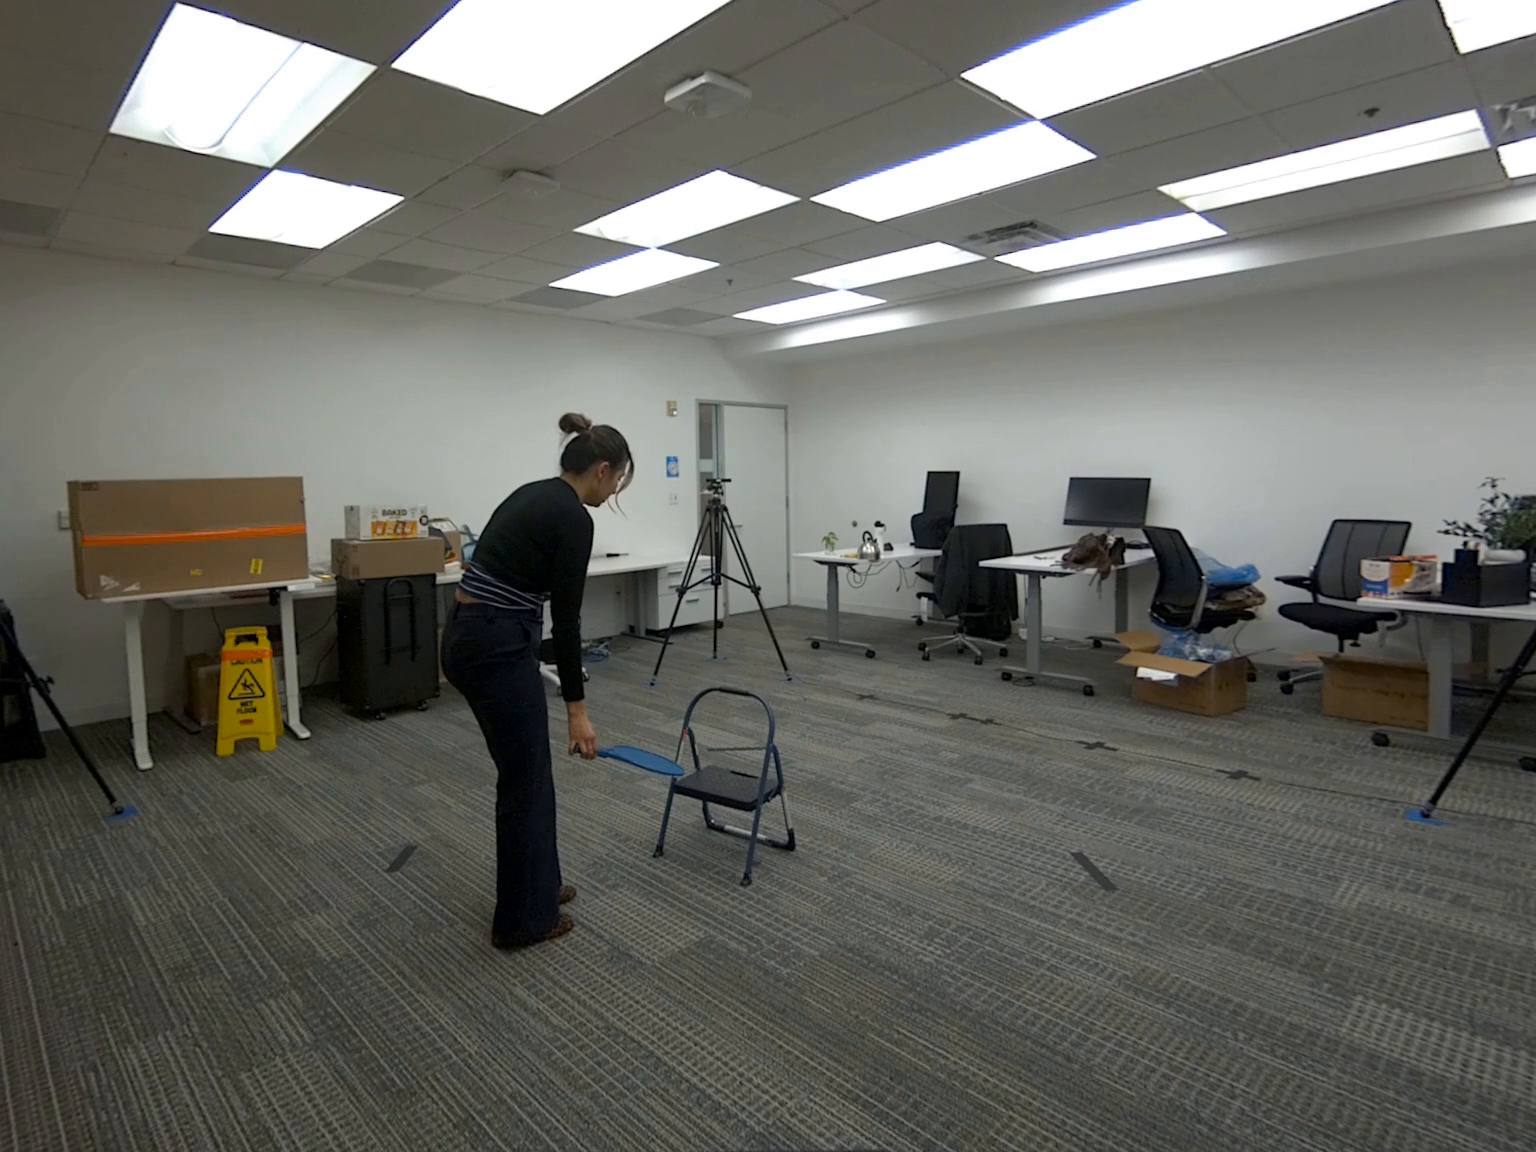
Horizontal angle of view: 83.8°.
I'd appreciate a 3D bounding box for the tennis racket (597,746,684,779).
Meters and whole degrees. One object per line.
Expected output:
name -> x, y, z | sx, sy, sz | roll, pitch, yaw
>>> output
tennis racket -> -0.422, 0.557, 2.655 | 0.221, 0.032, 0.417 | 18, -4, 44
